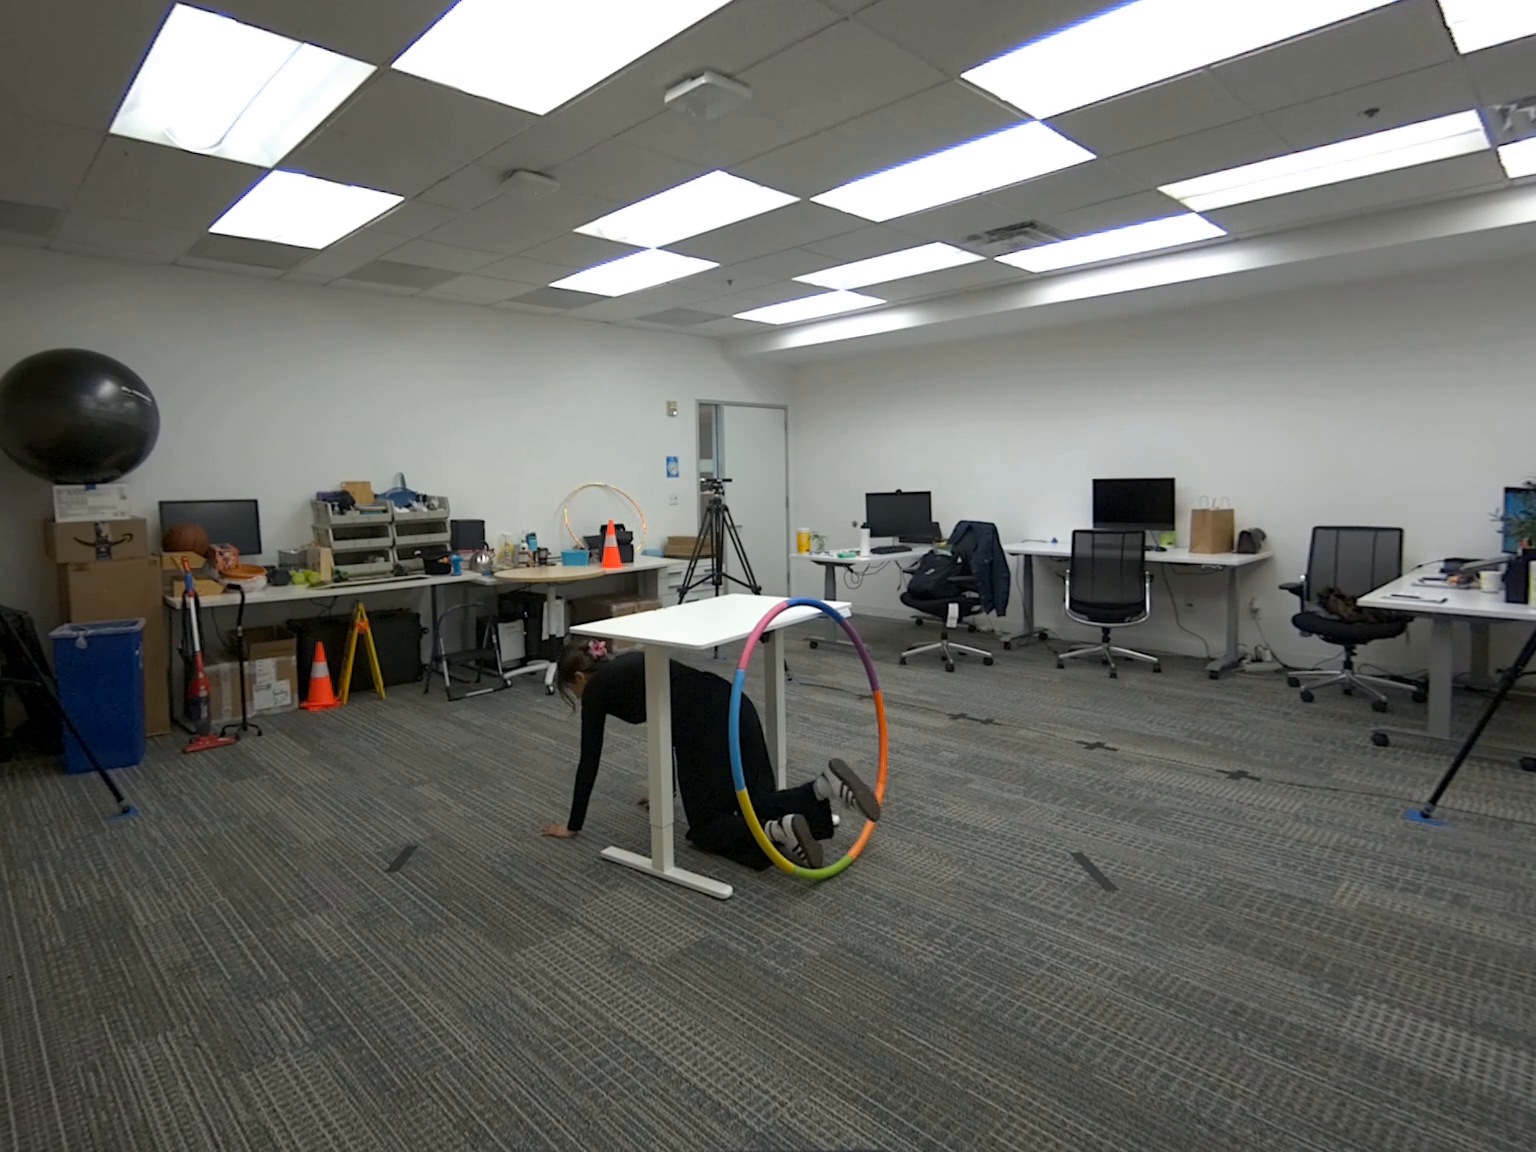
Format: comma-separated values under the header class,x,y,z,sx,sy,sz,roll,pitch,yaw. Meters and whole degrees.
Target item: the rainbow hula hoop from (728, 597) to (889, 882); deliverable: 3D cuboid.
class,x,y,z,sx,sy,sz,roll,pitch,yaw
rainbow hula hoop,0.178,0.562,3.067,0.036,0.982,0.954,-13,-3,36
